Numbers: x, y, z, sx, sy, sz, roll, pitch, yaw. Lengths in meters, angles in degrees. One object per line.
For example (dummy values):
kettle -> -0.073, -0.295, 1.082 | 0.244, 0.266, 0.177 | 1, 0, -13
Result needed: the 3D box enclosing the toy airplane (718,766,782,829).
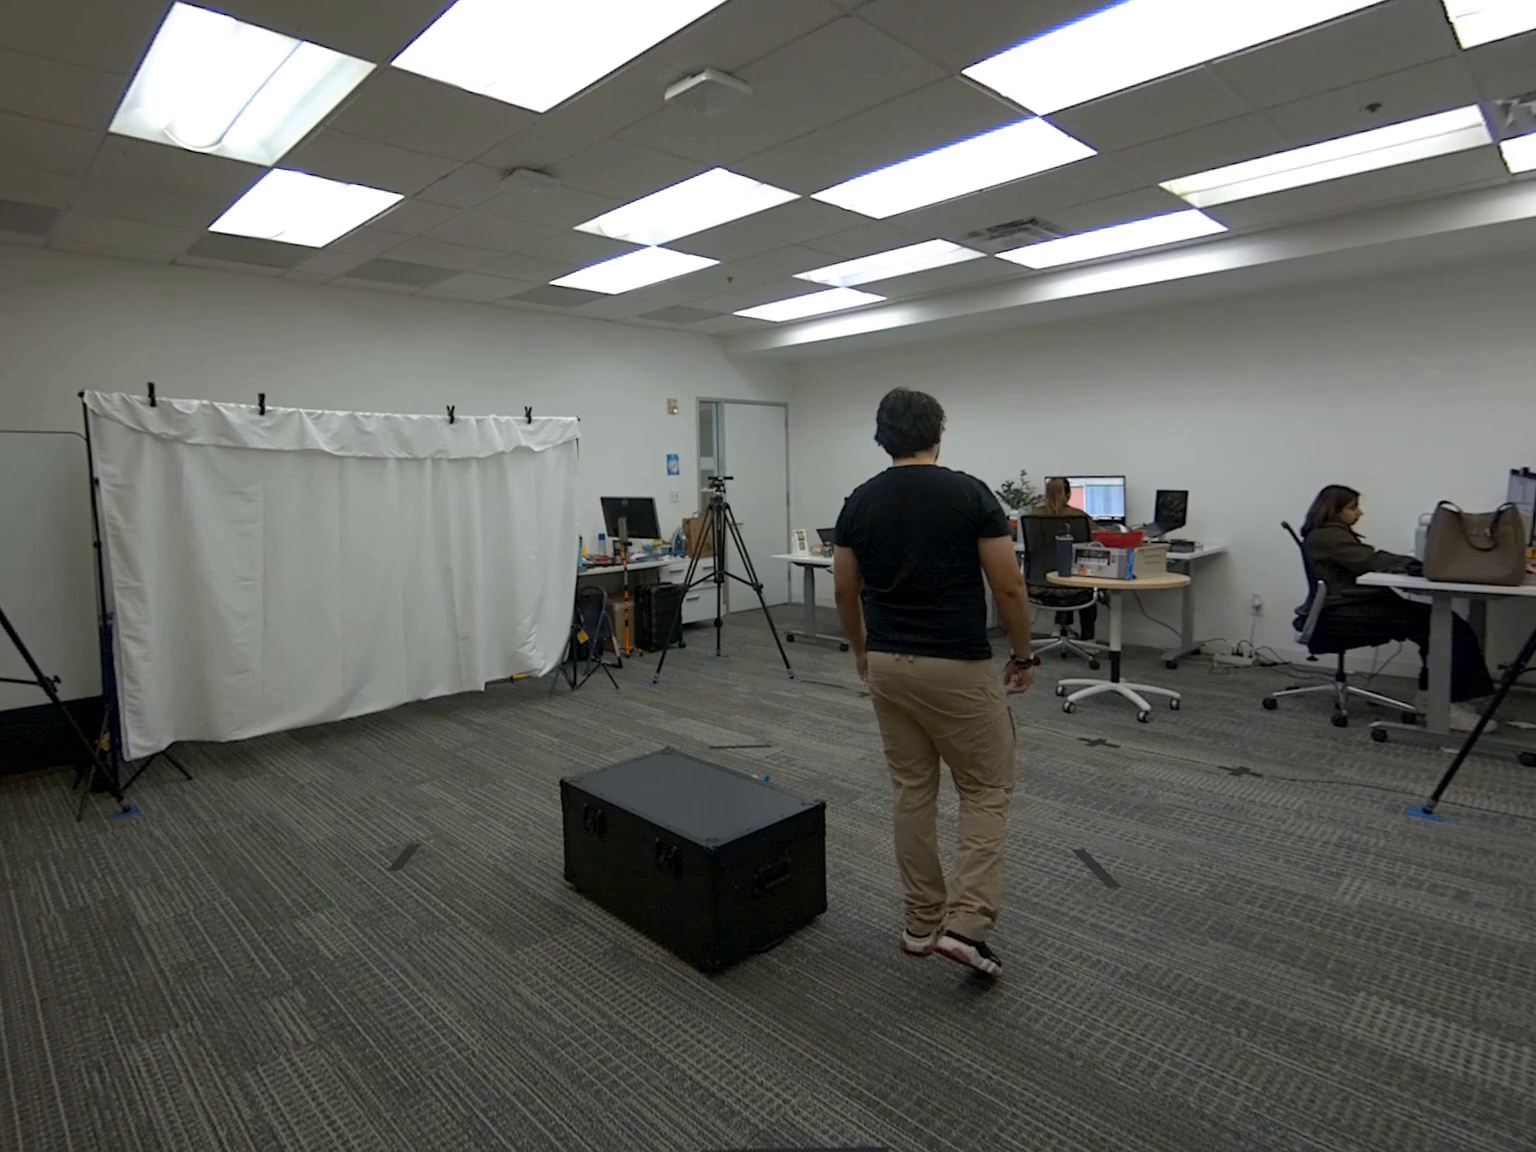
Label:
toy airplane -> -0.073, 0.910, 3.544 | 0.252, 0.155, 0.260 | -1, 7, 1
